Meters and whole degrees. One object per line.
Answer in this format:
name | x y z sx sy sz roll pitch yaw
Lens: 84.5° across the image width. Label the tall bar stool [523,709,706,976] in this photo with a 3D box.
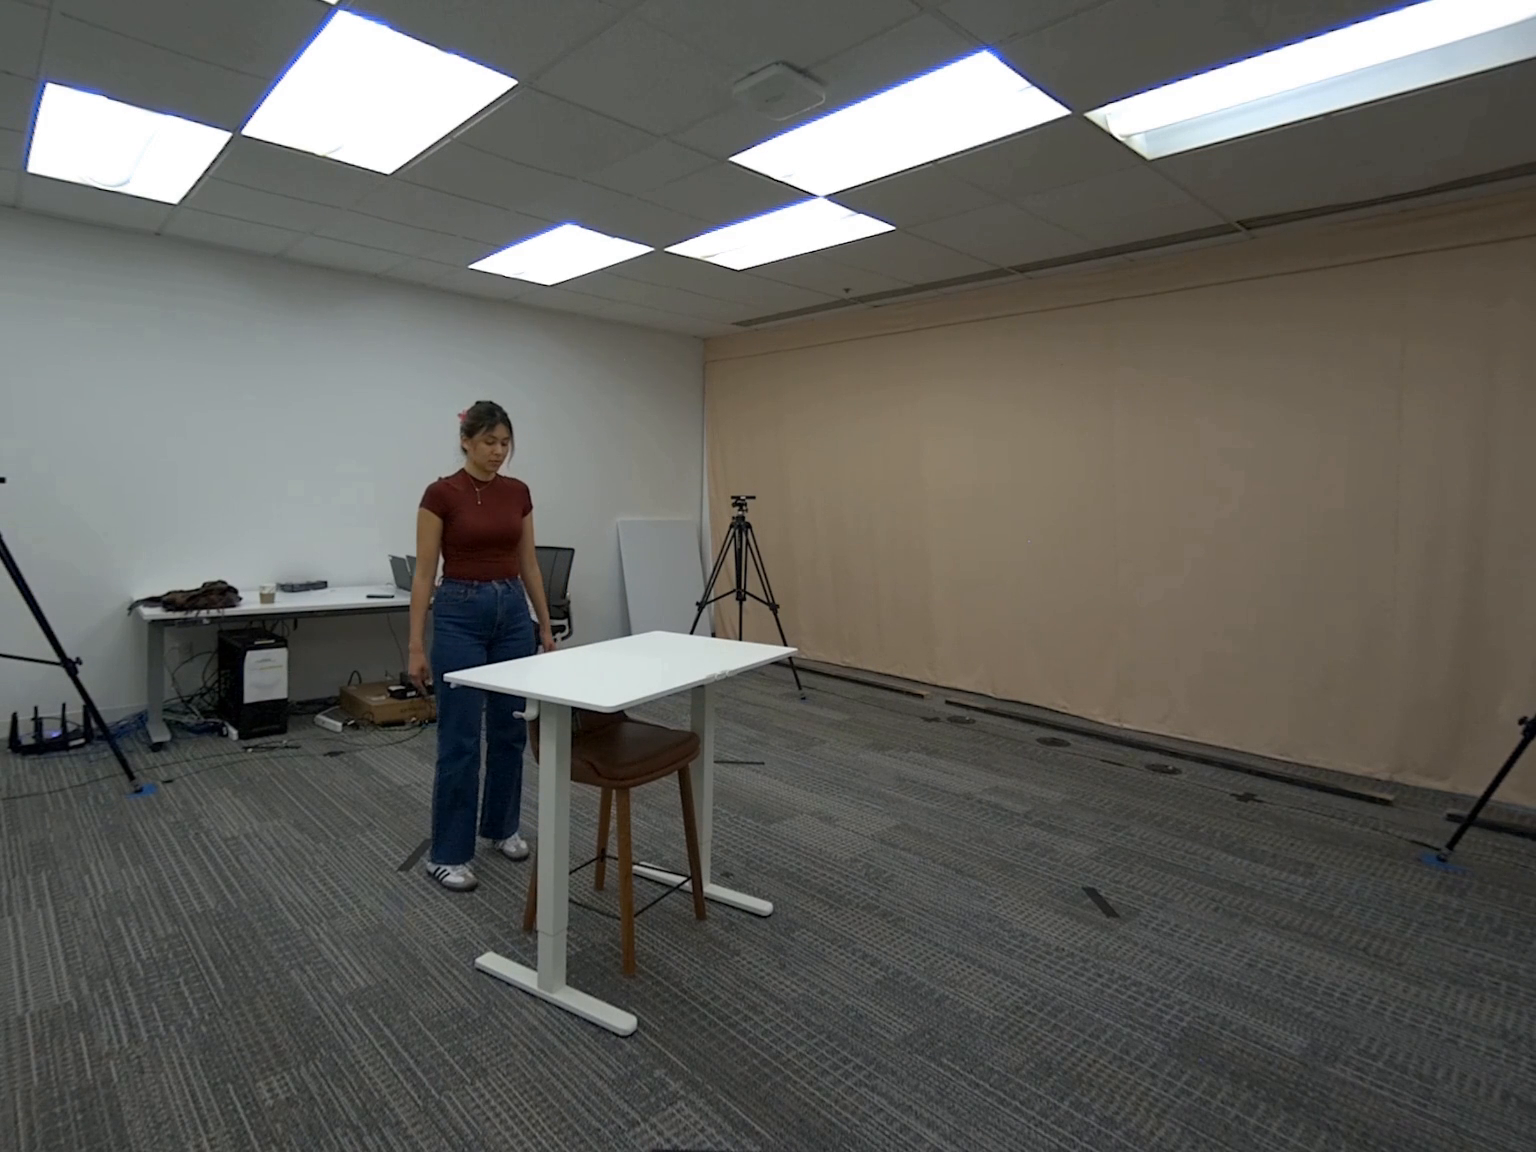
tall bar stool | -0.502 0.703 2.691 0.477 0.888 0.448 0 2 30
